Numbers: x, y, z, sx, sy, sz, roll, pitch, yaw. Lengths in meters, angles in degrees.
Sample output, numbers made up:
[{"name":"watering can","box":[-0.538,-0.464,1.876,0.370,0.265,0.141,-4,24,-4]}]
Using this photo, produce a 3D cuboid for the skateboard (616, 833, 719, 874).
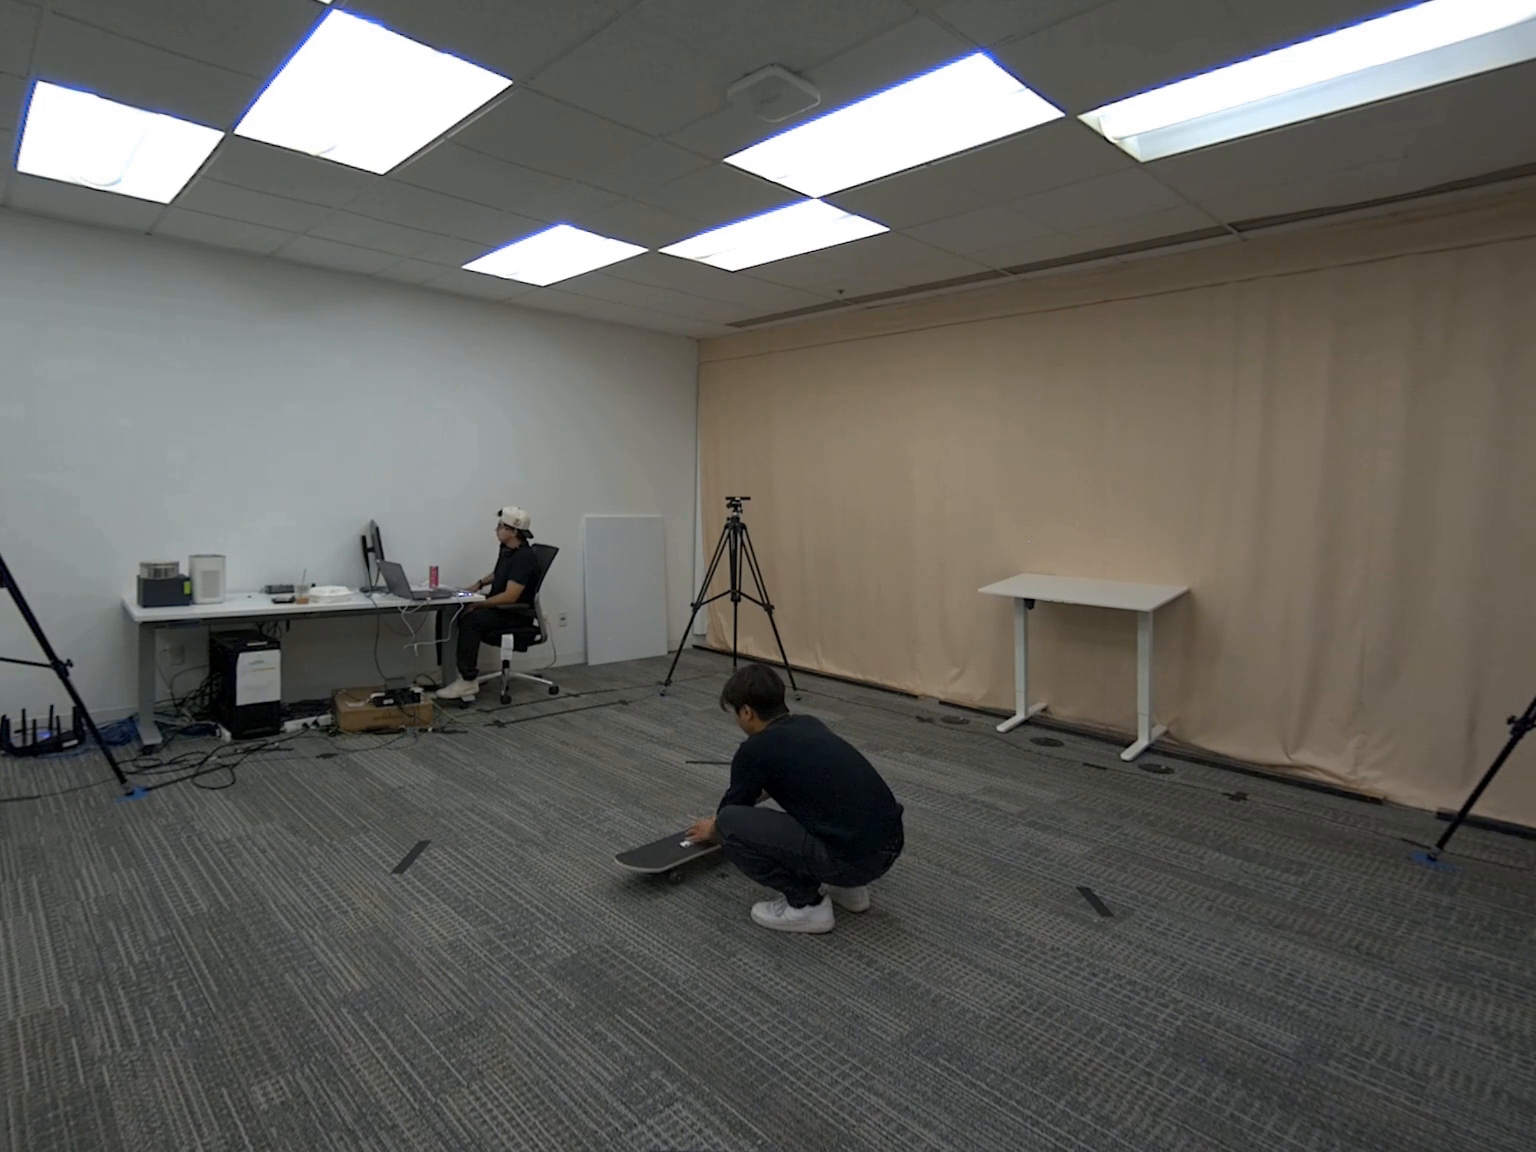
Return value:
[{"name":"skateboard","box":[-0.259,1.034,3.224,0.198,0.110,0.768,6,7,42]}]
